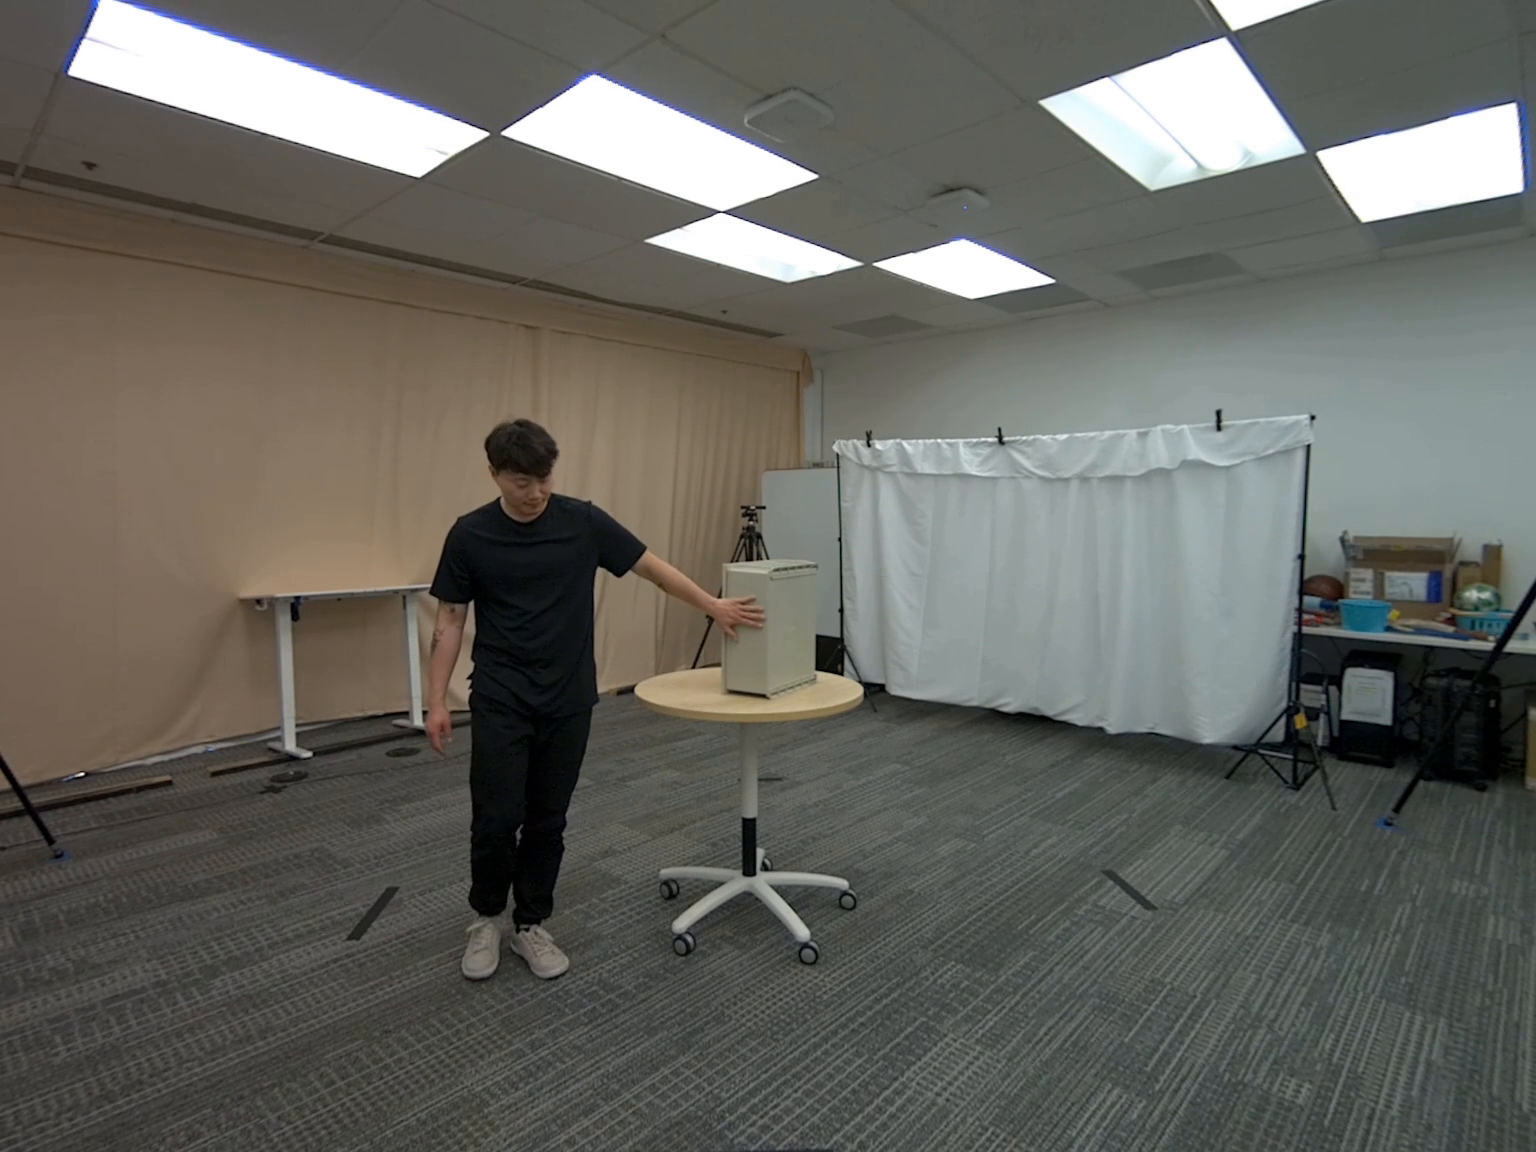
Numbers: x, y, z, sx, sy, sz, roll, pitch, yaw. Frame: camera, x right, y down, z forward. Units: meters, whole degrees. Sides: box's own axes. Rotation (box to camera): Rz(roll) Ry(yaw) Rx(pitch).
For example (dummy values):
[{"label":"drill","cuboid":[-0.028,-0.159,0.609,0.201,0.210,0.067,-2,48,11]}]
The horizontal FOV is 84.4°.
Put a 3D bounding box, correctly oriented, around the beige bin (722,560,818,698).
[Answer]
[{"label":"beige bin","cuboid":[0.024,0.167,2.808,0.195,0.421,0.367,3,4,32]}]
